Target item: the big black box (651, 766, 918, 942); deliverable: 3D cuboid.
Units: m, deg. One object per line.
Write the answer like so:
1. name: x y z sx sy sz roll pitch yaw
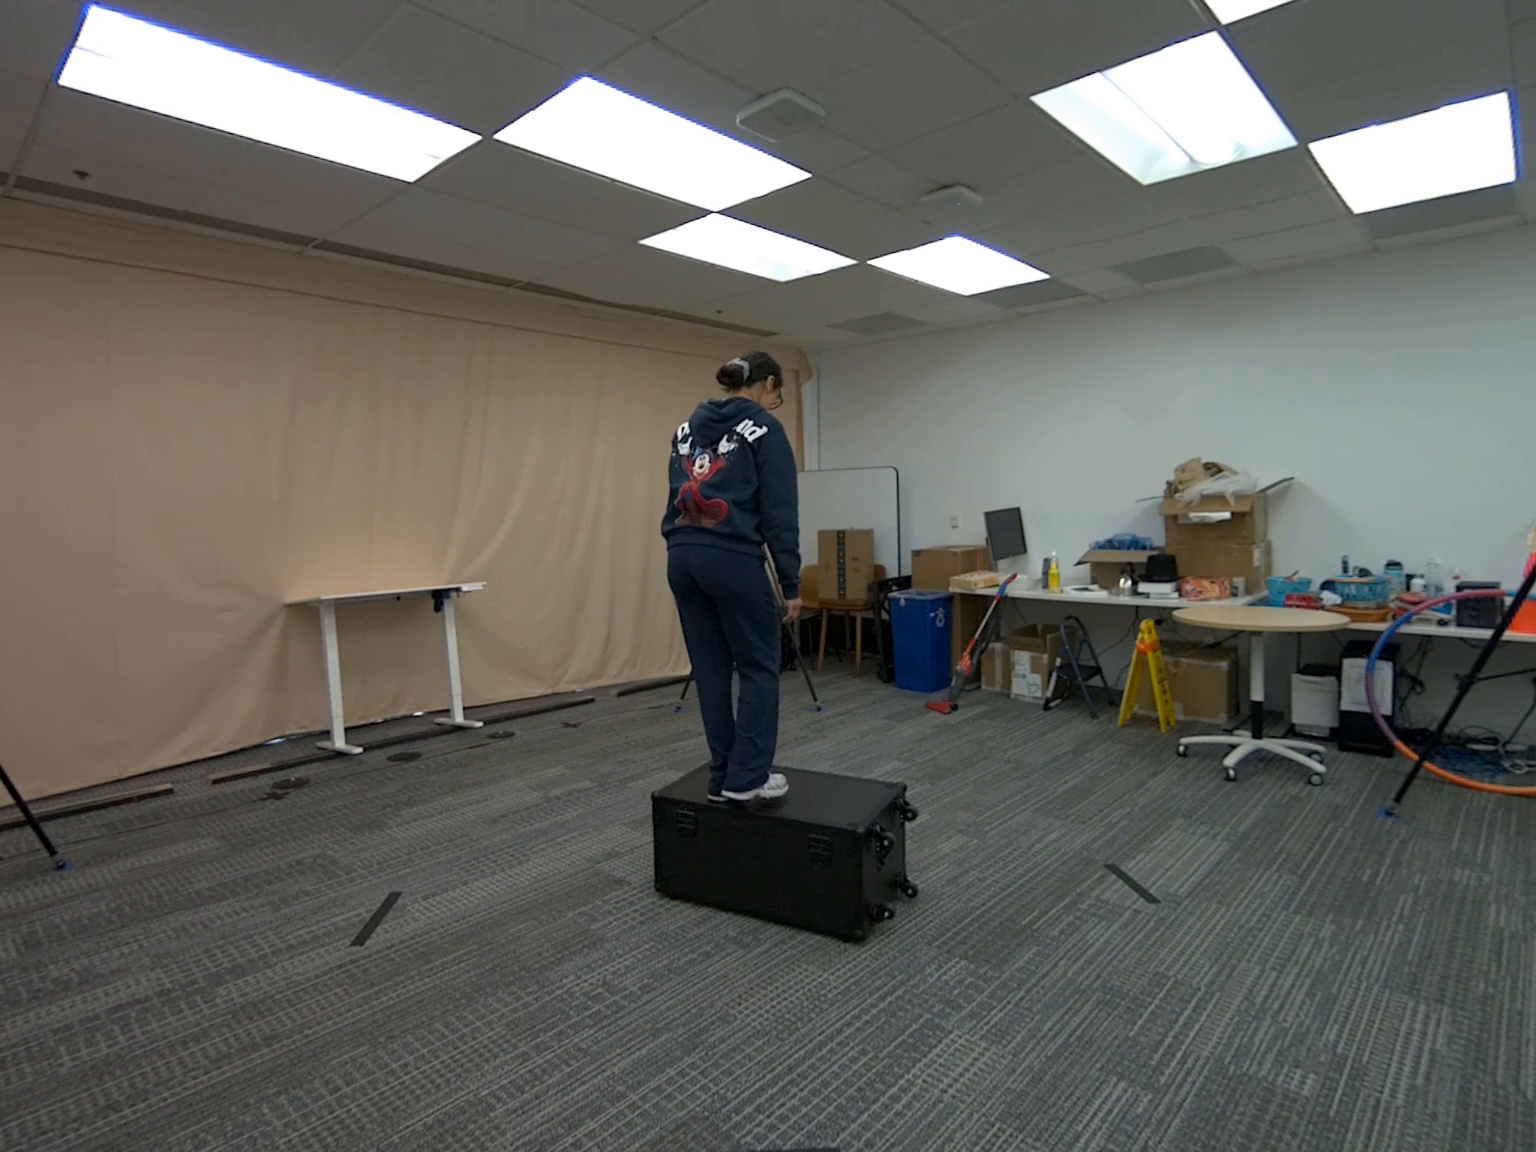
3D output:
1. big black box: 0.077 0.950 2.999 0.885 0.395 0.508 1 4 27
